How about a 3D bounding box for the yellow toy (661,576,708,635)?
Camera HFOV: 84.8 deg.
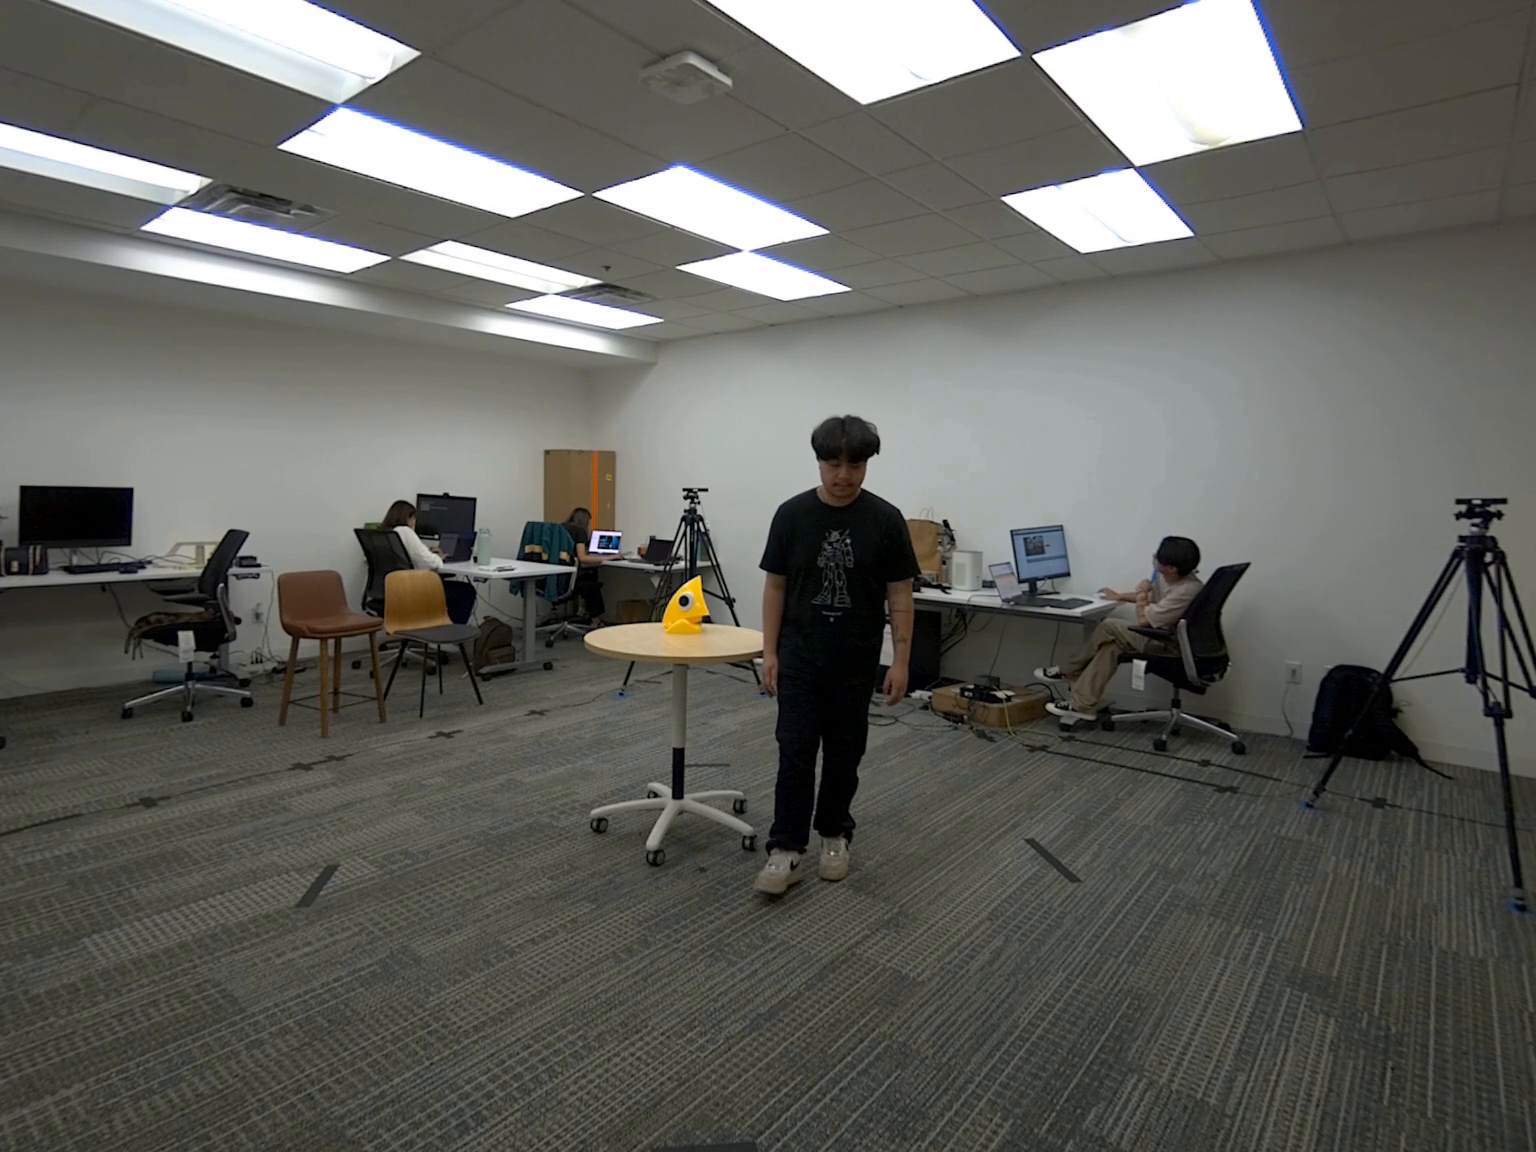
[{"bbox_3d":[-0.362,0.109,3.599,0.191,0.230,0.208,1,5,-10],"label":"yellow toy"}]
